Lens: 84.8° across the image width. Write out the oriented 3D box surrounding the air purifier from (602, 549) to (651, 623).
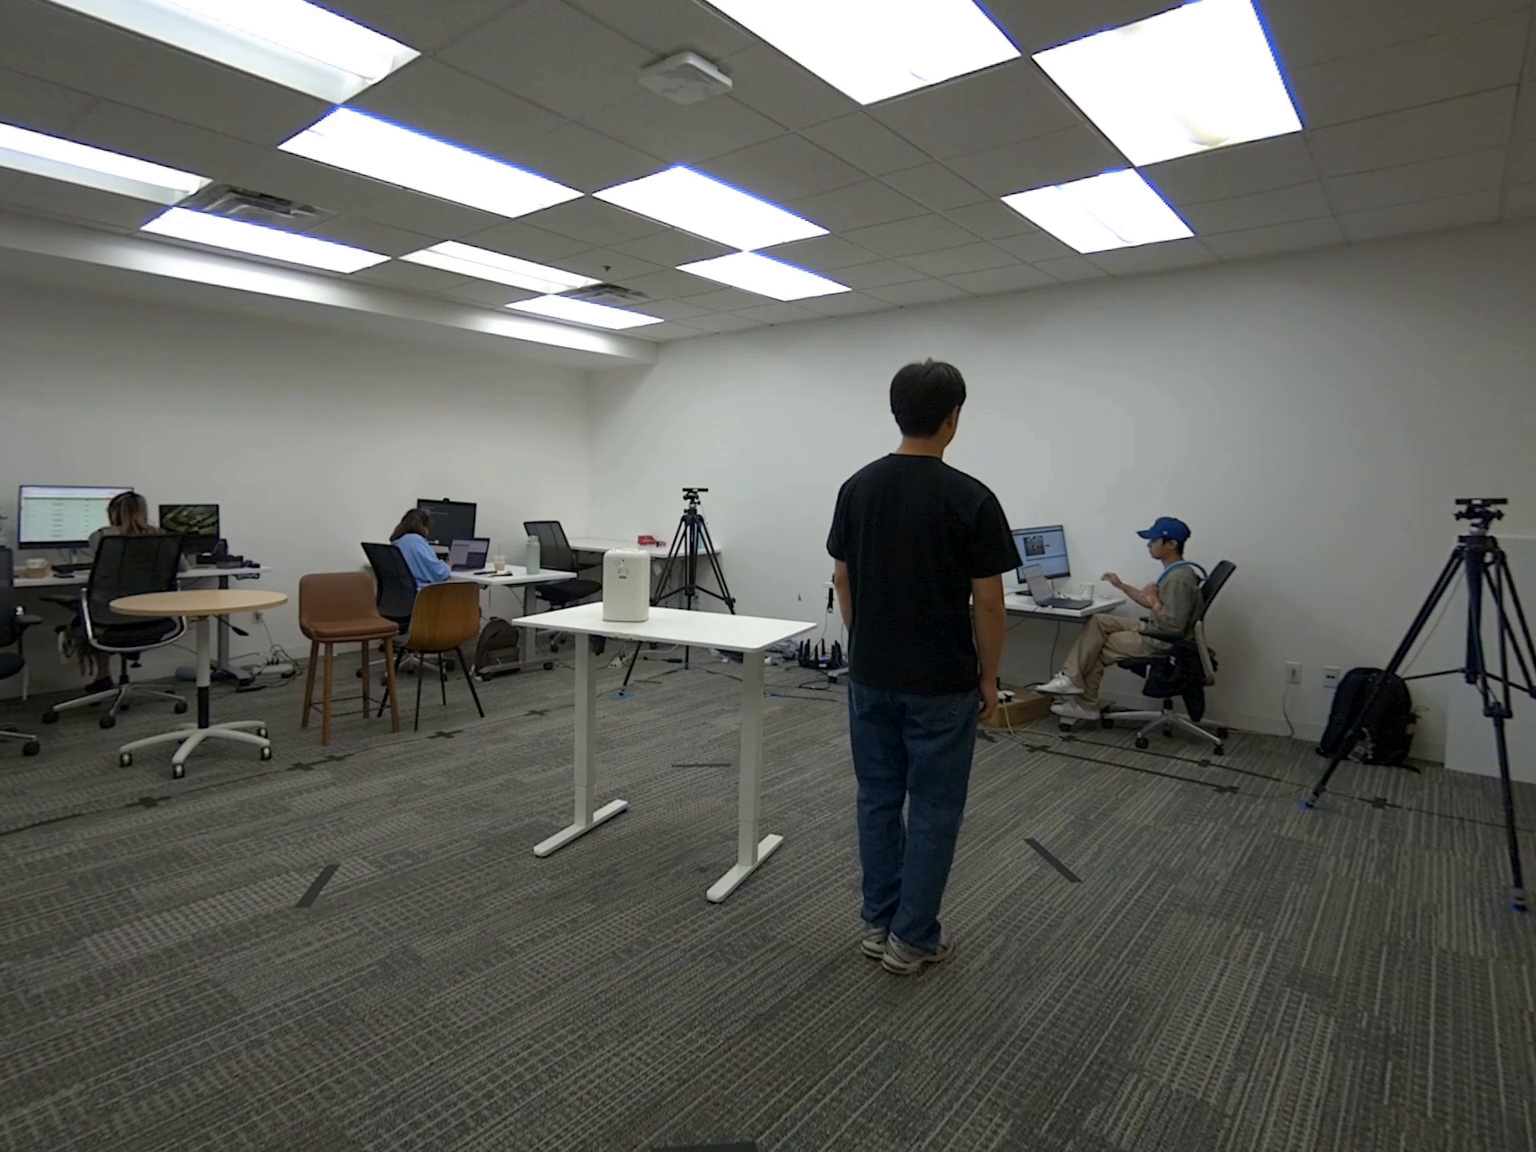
[{"bbox_3d":[-0.557,0.030,3.270,0.172,0.264,0.172,2,5,2],"label":"air purifier"}]
